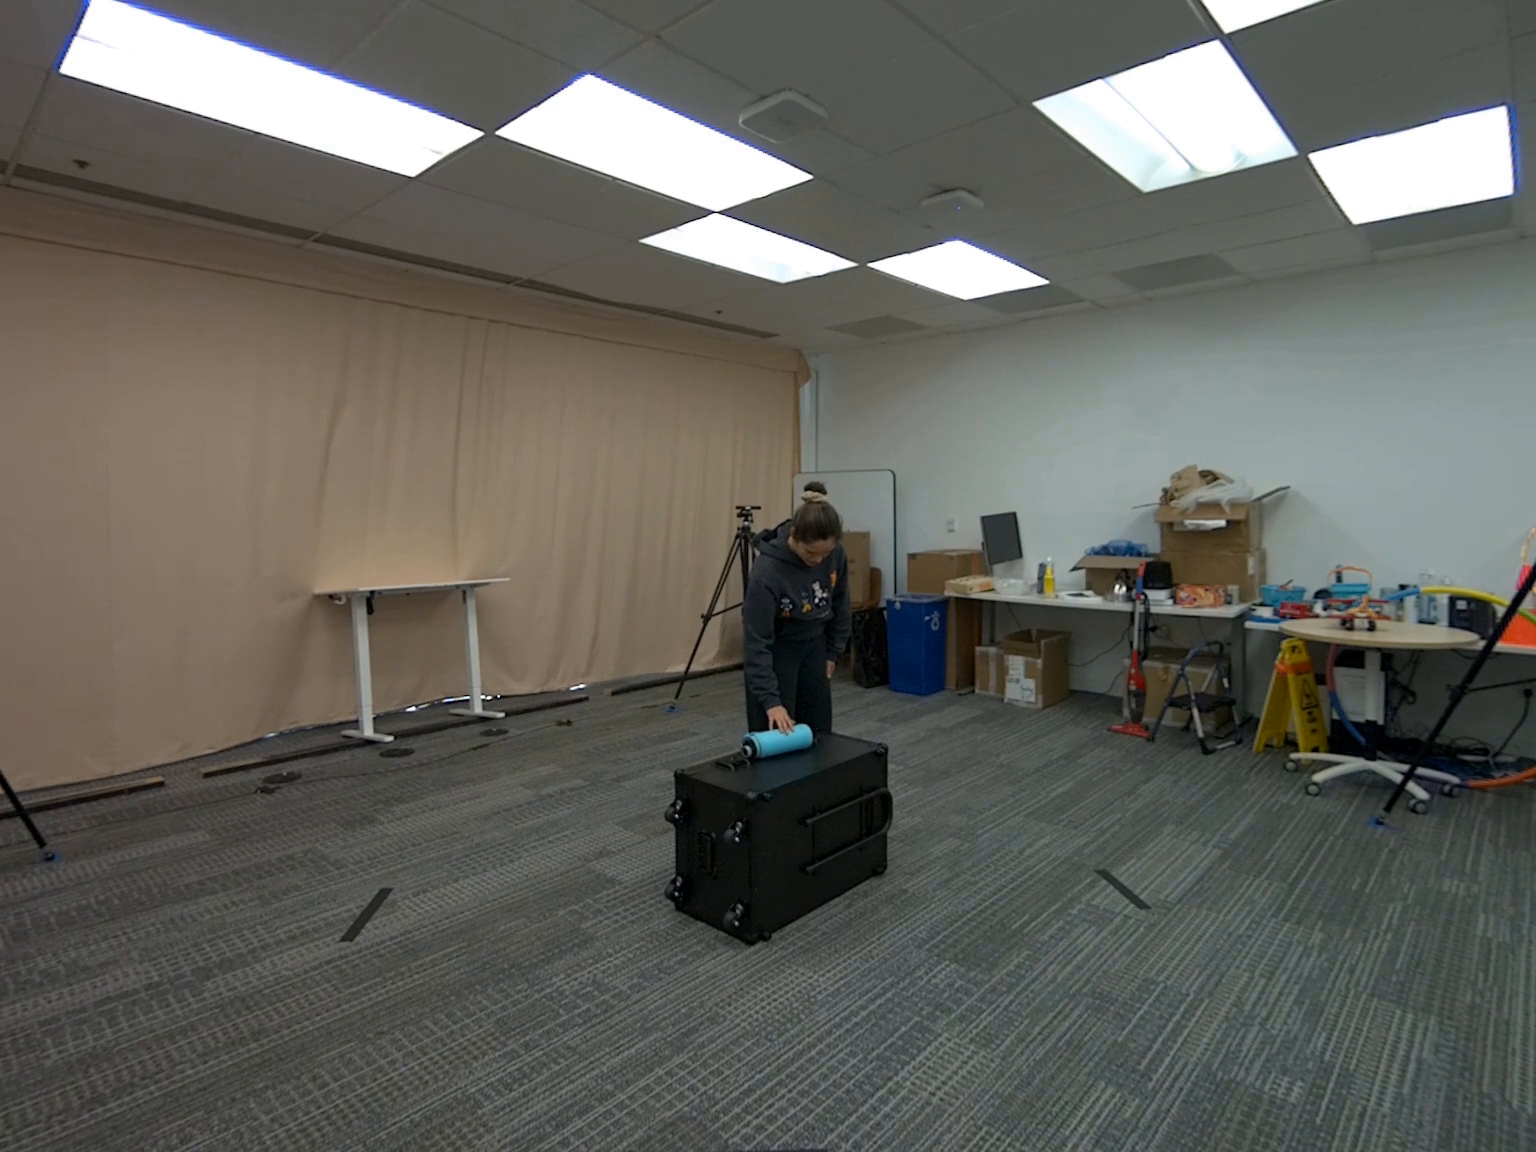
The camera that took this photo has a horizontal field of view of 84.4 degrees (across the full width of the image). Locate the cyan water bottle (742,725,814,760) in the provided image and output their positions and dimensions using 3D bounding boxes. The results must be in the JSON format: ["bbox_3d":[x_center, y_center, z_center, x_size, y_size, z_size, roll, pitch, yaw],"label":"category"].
[{"bbox_3d":[0.048,0.599,3.077,0.276,0.092,0.095,-7,7,-32],"label":"cyan water bottle"}]
